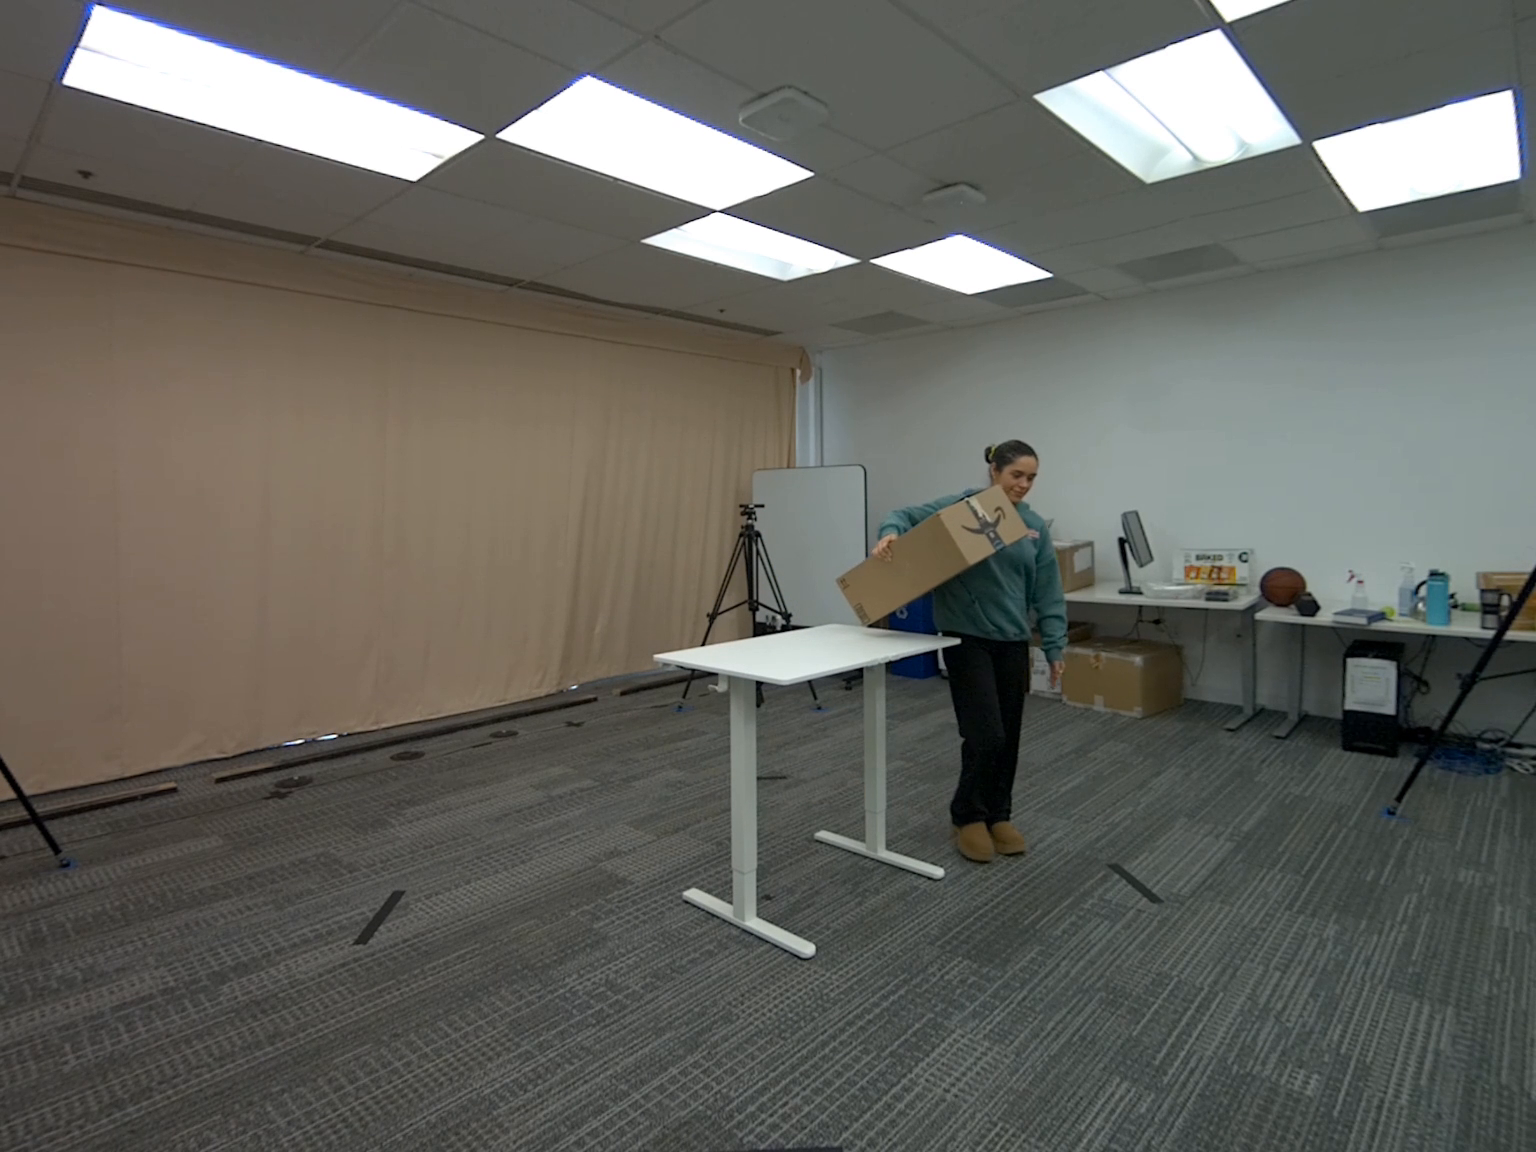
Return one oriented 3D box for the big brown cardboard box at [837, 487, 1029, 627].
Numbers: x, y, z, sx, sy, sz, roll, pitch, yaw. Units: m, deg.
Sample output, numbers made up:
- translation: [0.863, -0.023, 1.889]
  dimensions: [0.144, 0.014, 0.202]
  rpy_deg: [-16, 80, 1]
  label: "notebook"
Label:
- translation: [0.604, -0.067, 3.160]
  dimensions: [0.408, 0.235, 0.597]
  rpy_deg: [-23, -9, -42]
  label: "big brown cardboard box"
